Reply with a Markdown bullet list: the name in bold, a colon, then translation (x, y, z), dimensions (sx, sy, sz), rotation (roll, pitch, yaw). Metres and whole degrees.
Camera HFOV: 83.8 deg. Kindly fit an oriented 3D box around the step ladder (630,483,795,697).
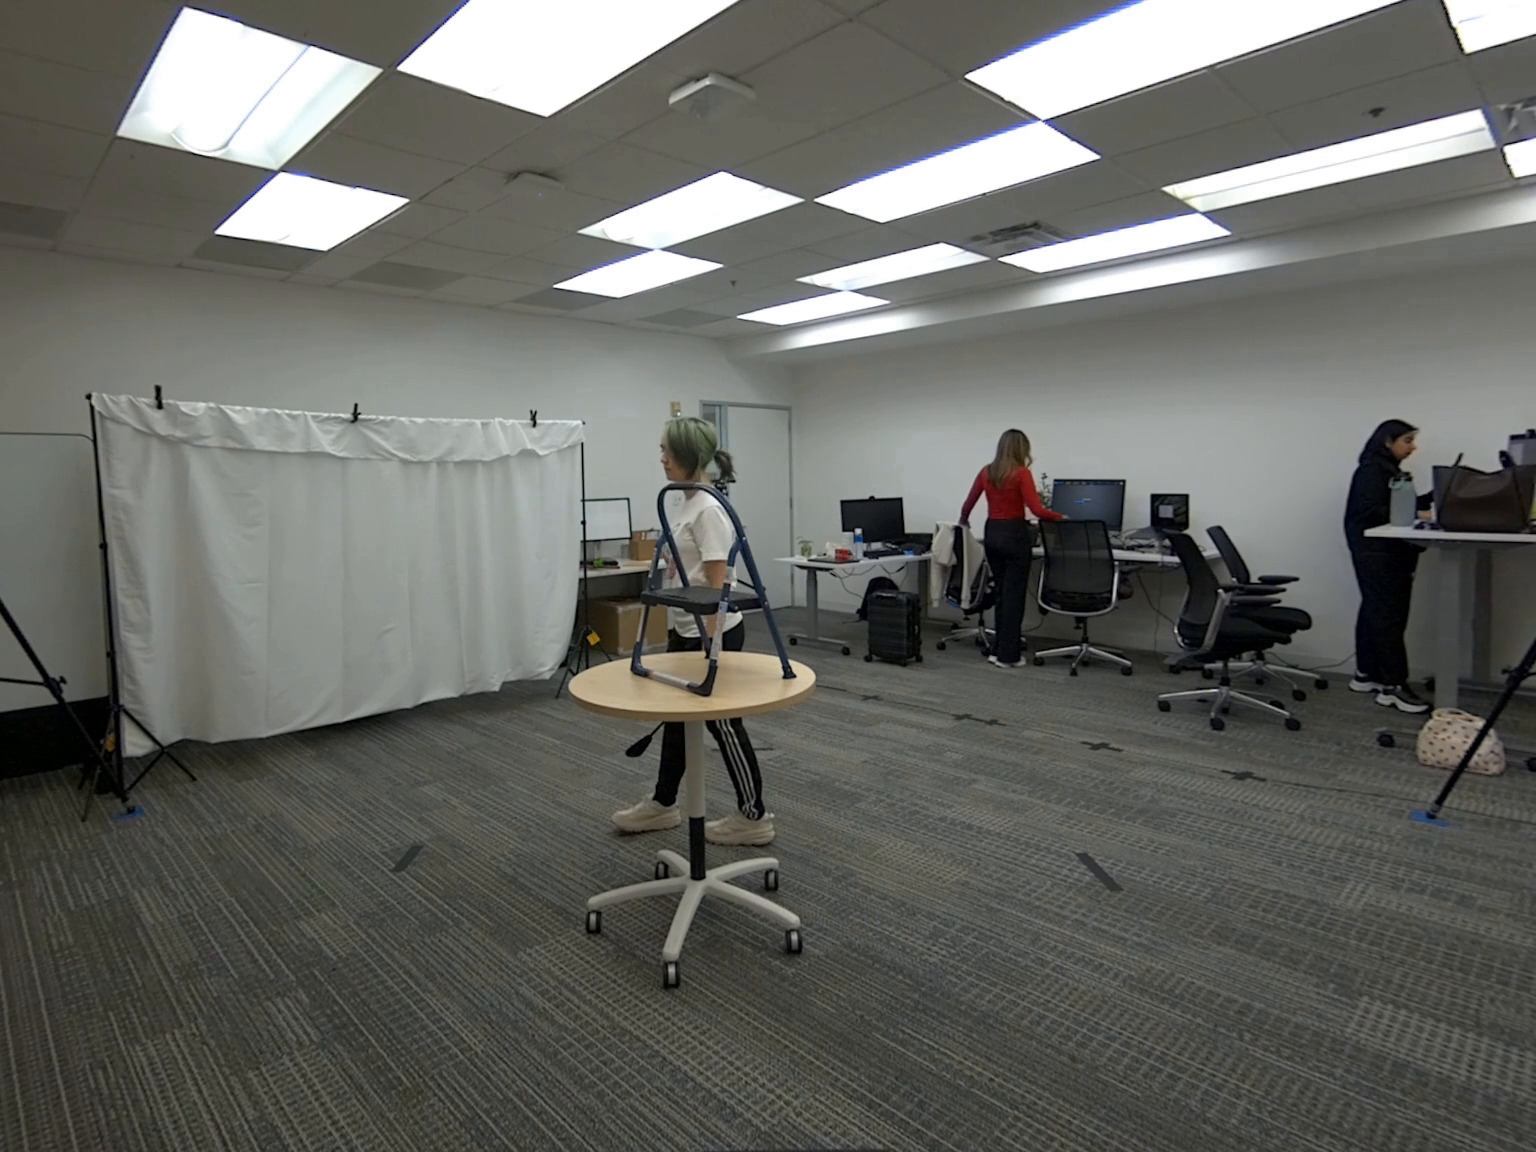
- **step ladder**: translation (-0.189, 0.015, 2.669), dimensions (0.340, 0.604, 0.444), rotation (-5, 6, -40)
